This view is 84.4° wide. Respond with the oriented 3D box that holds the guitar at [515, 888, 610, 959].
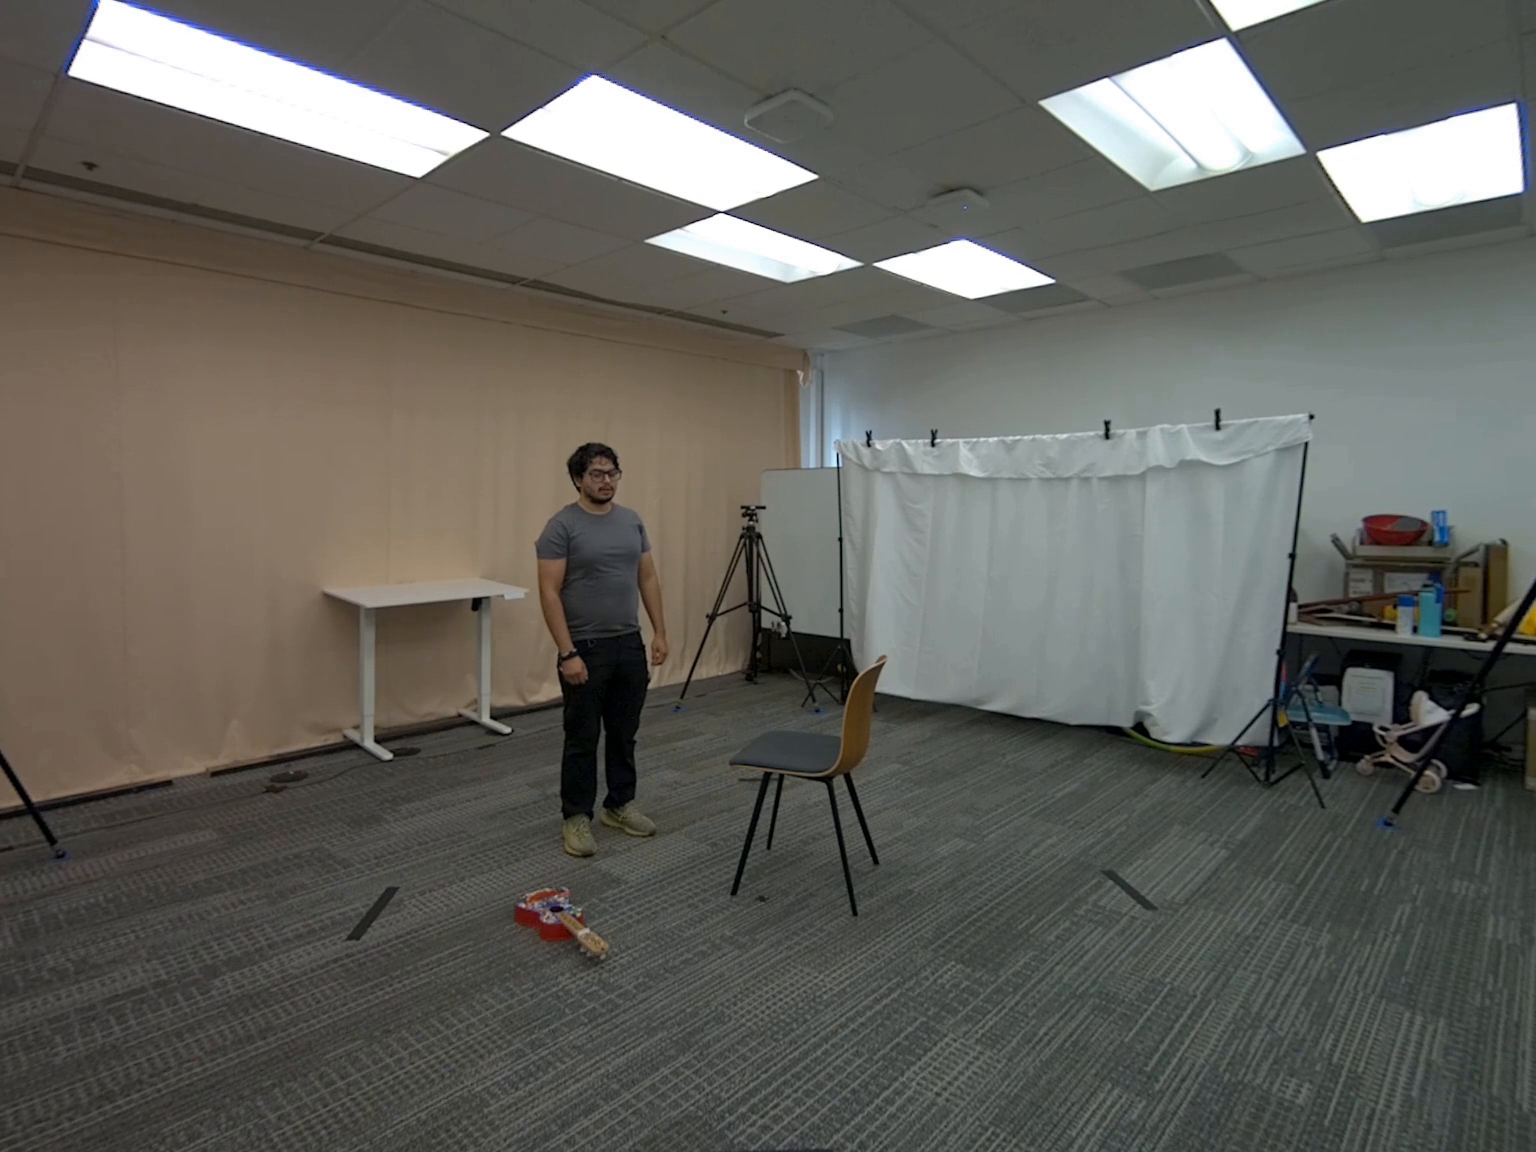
[{"bbox_3d":[-0.680,1.142,2.712,0.188,0.070,0.512,-2,5,-29],"label":"guitar"}]
